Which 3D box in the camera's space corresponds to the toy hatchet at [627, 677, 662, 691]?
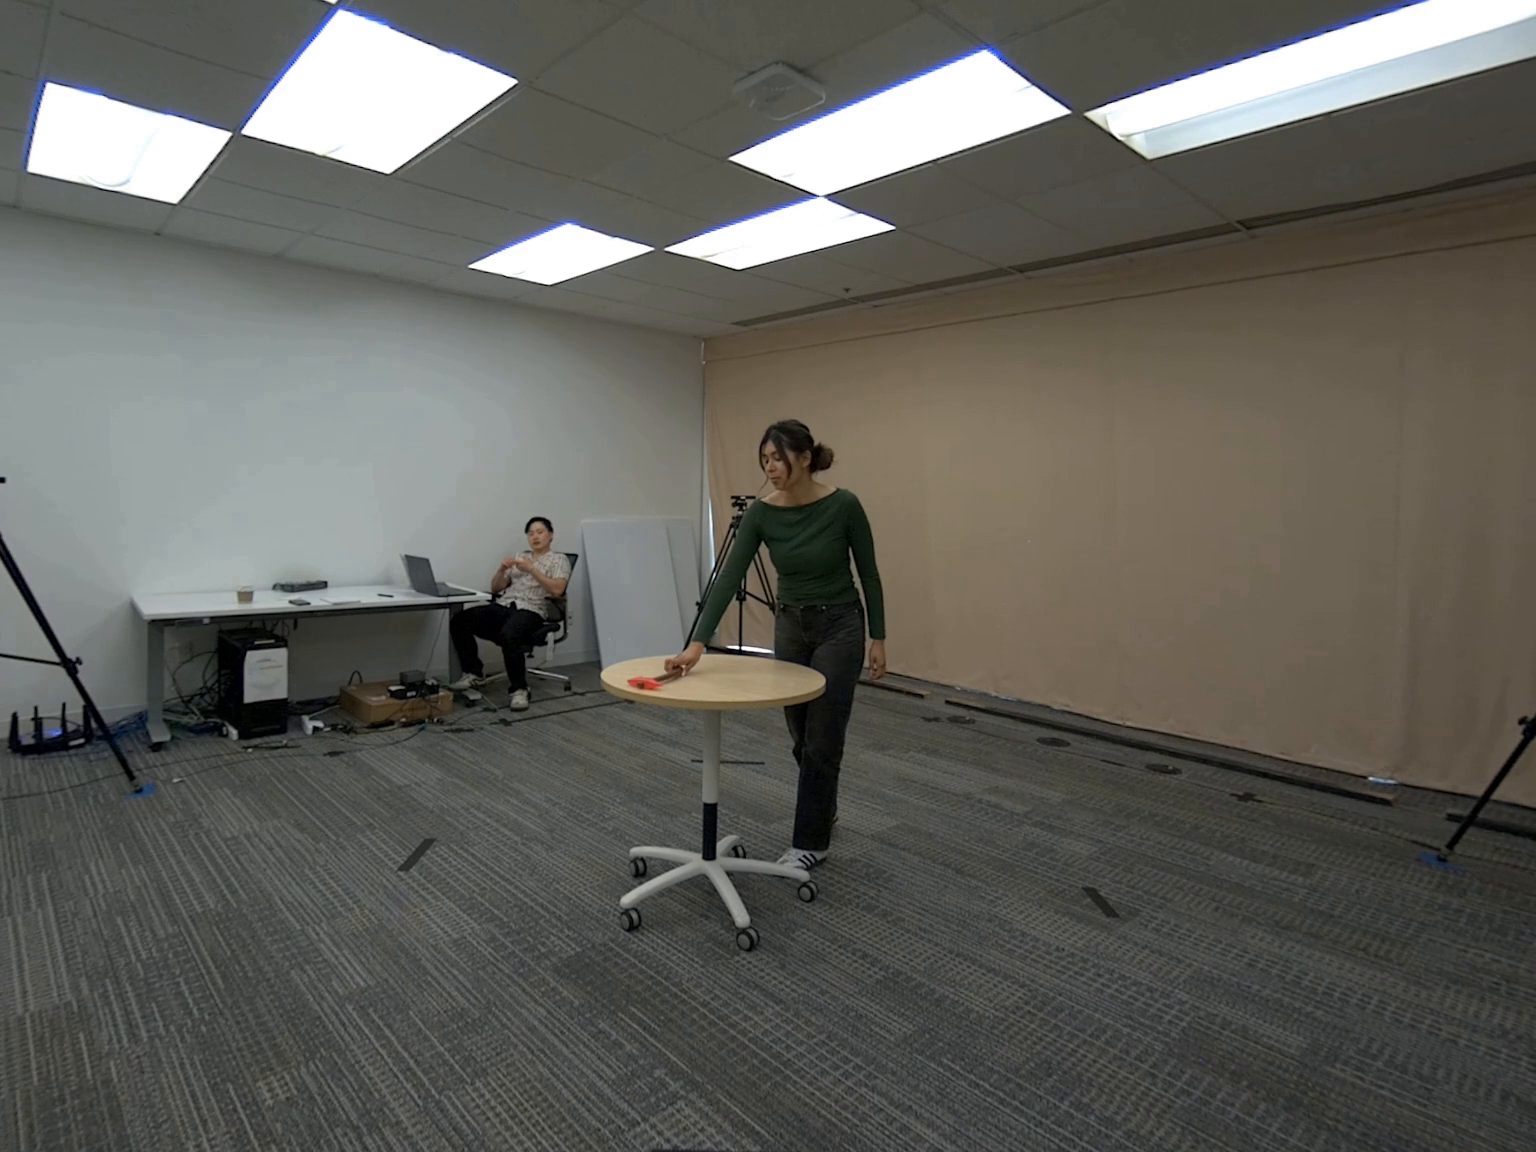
[{"bbox_3d":[-0.386,0.333,2.743,0.132,0.029,0.269,-1,4,5],"label":"toy hatchet"}]
